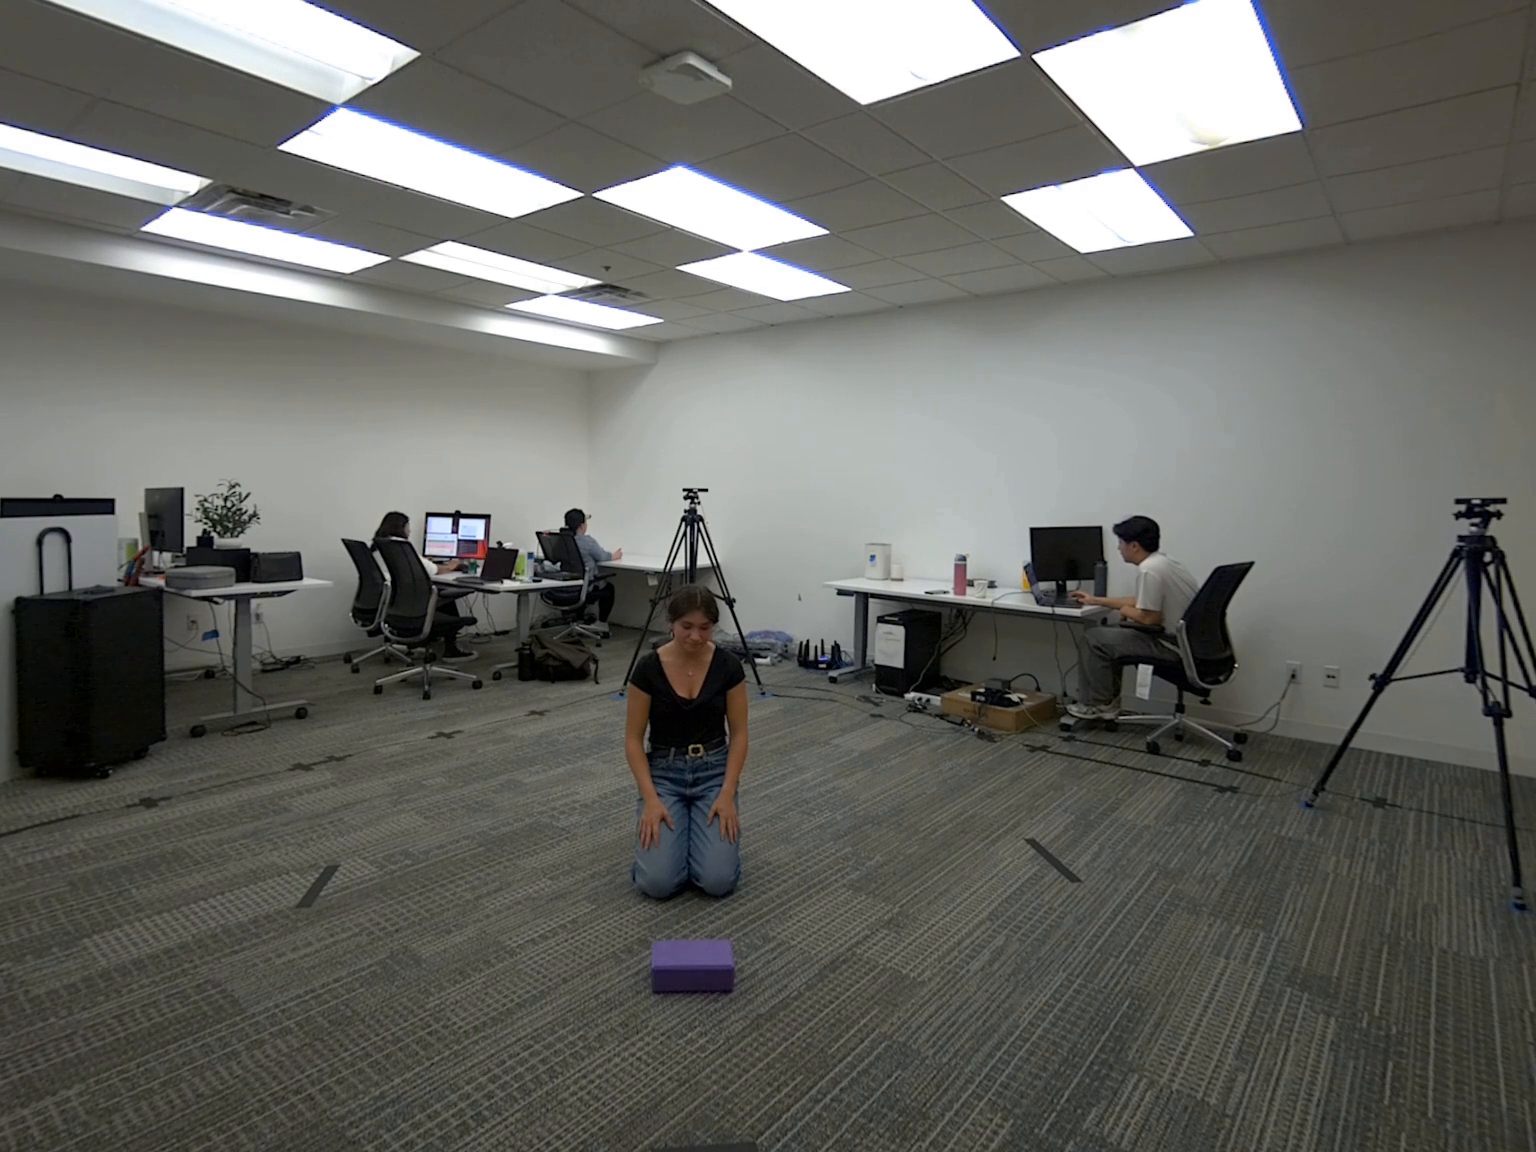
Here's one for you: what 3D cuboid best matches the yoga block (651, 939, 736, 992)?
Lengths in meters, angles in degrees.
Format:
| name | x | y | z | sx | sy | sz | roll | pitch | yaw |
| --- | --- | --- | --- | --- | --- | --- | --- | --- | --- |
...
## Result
| name | x | y | z | sx | sy | sz | roll | pitch | yaw |
| --- | --- | --- | --- | --- | --- | --- | --- | --- | --- |
| yoga block | -0.213 | 1.093 | 2.418 | 0.228 | 0.076 | 0.150 | 1 | 4 | -4 |
